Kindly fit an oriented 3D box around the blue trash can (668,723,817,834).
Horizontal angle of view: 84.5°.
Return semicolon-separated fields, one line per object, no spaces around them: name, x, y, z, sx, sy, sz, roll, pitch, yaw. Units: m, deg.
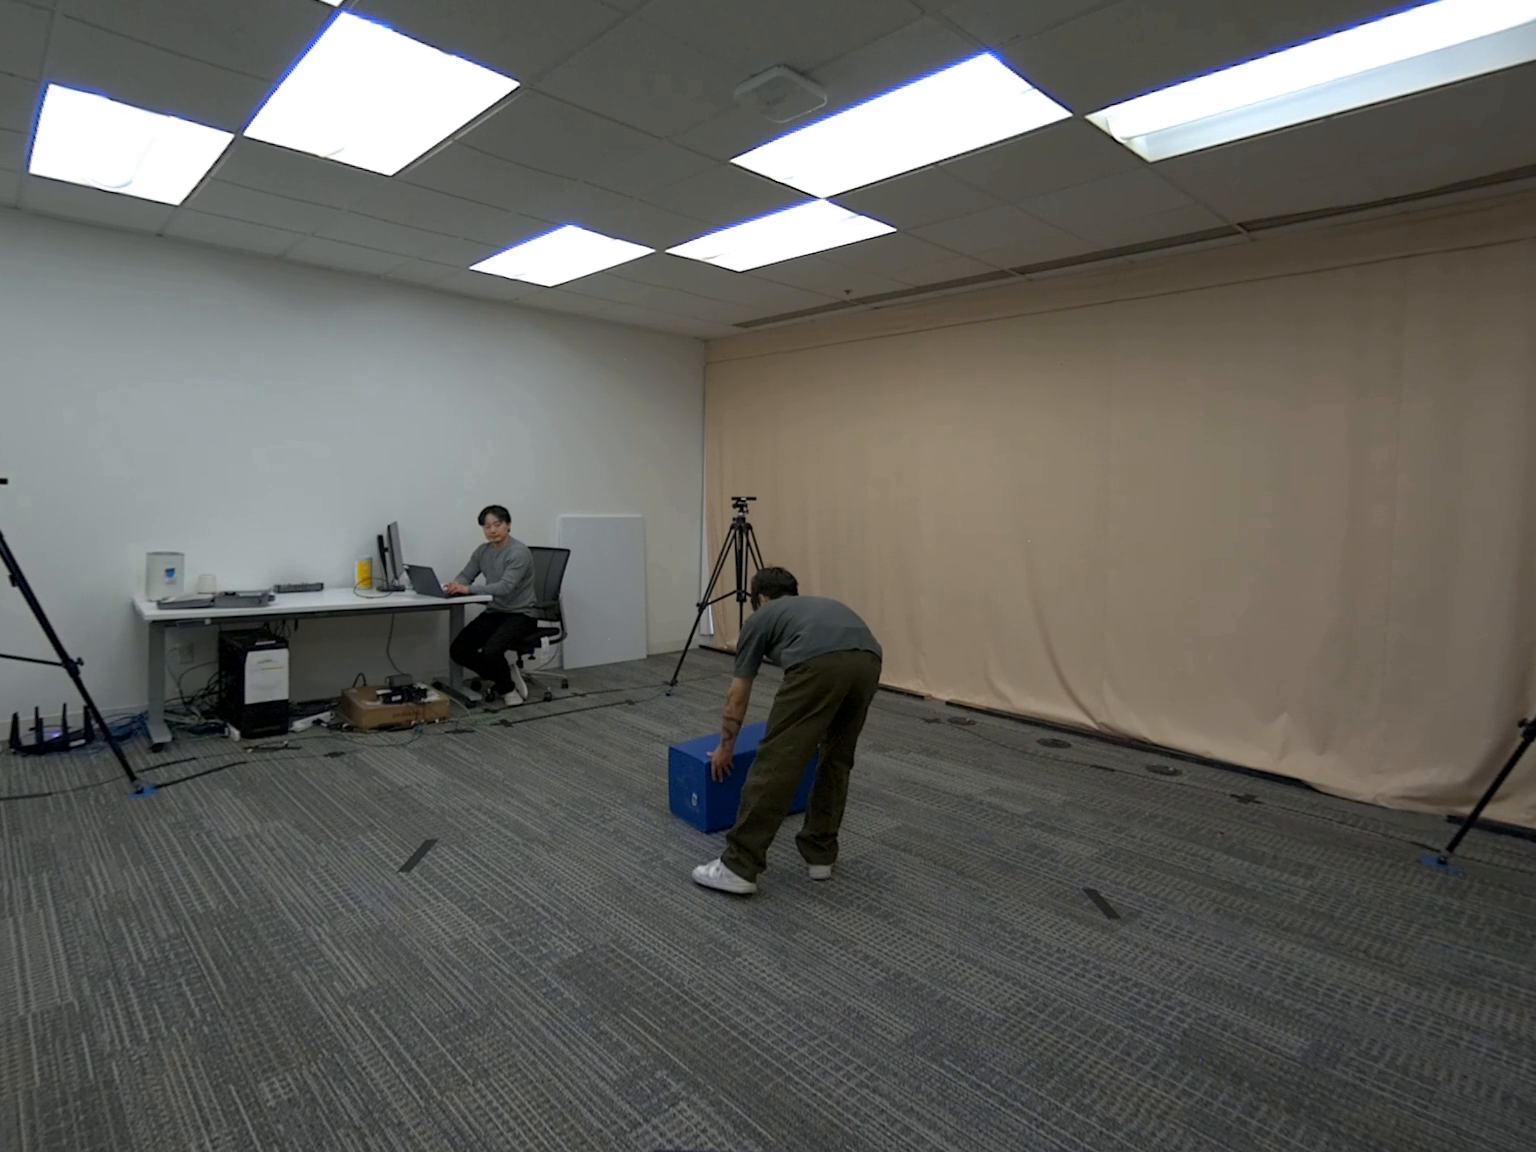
blue trash can;-0.068;0.878;3.790;0.698;0.373;0.387;-3;6;-35
